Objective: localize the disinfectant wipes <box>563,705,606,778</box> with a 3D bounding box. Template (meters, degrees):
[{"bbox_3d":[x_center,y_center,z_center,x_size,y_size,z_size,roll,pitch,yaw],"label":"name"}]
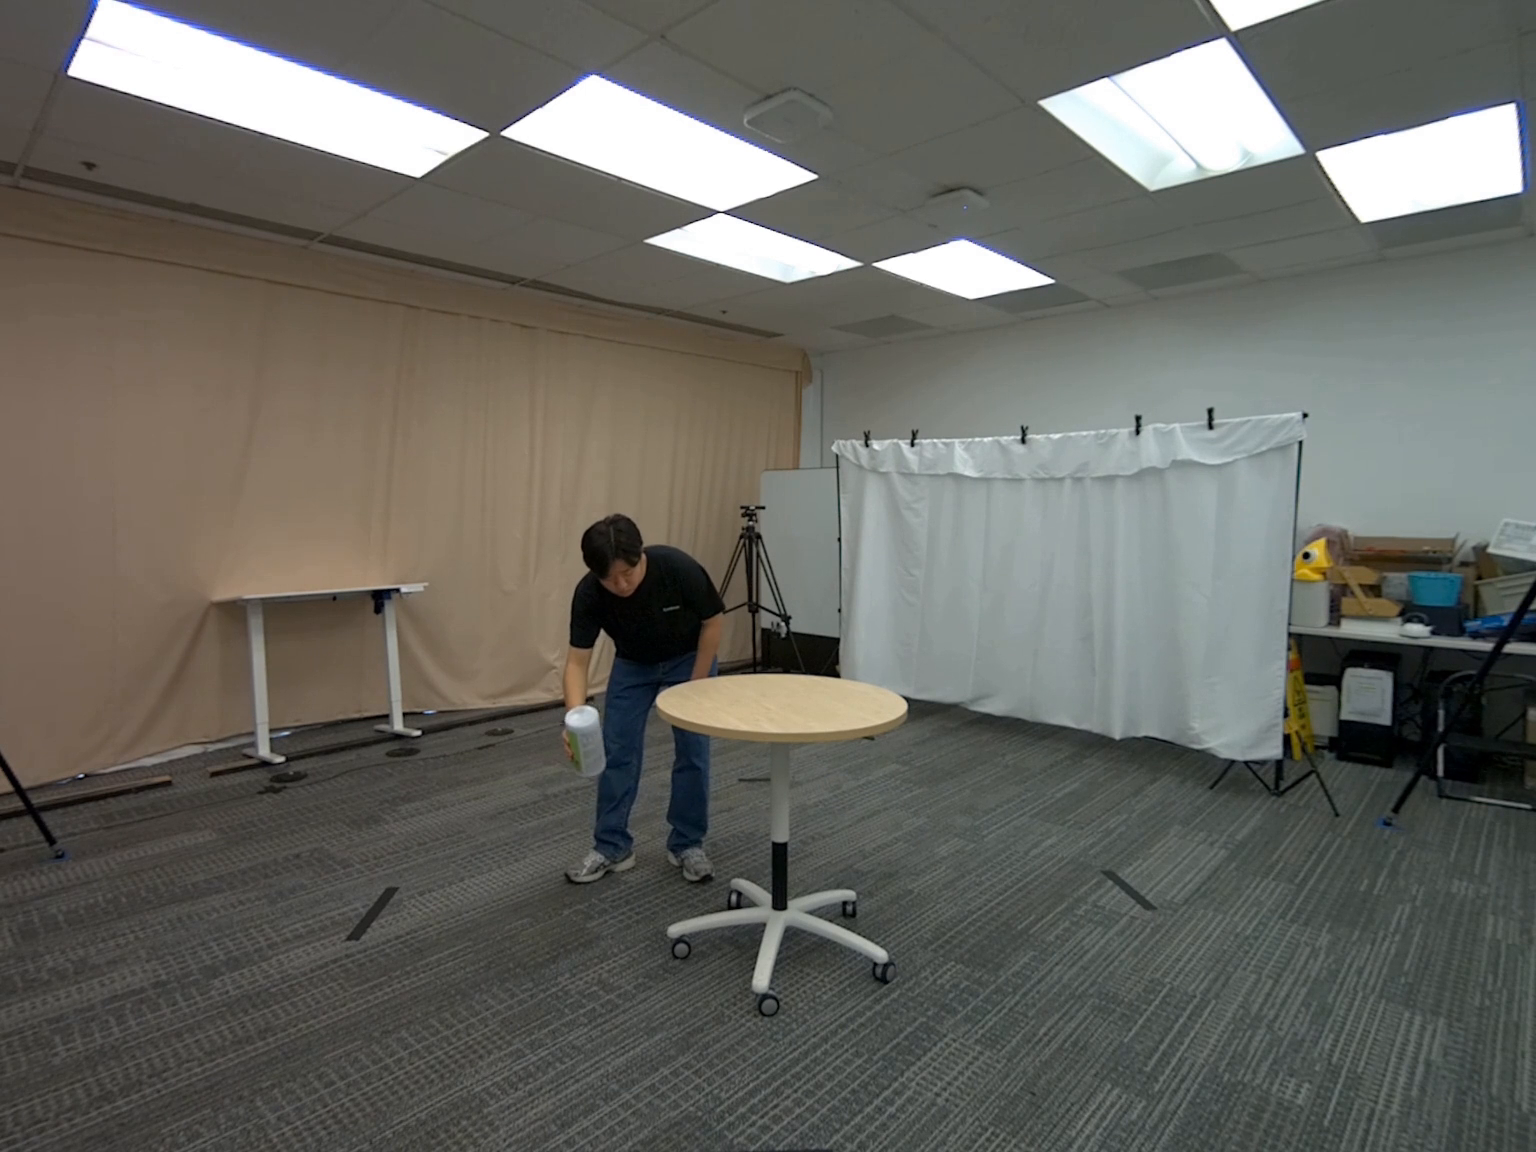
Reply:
[{"bbox_3d":[-0.580,0.535,2.724,0.118,0.214,0.120,-4,27,0],"label":"disinfectant wipes"}]
